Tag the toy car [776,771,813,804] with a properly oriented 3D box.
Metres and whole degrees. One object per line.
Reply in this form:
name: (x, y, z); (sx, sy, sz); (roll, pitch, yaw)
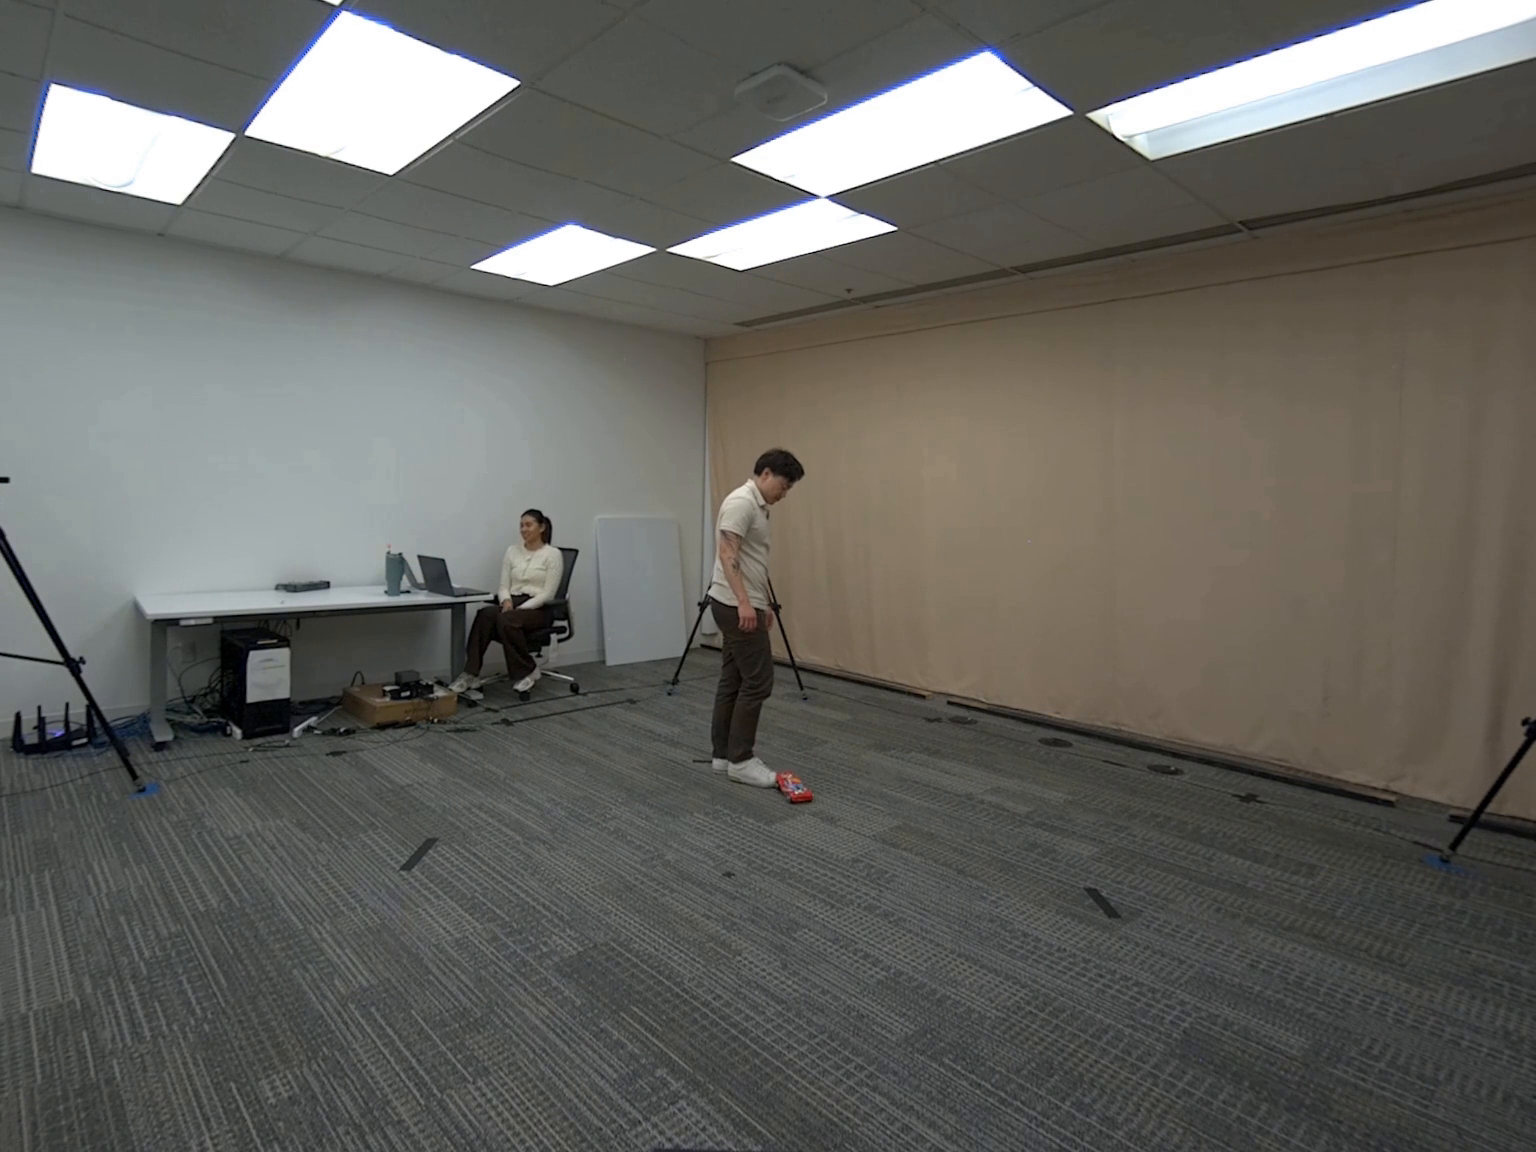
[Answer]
toy car: (0.105, 1.000, 3.969); (0.128, 0.082, 0.261); (1, 19, -20)
